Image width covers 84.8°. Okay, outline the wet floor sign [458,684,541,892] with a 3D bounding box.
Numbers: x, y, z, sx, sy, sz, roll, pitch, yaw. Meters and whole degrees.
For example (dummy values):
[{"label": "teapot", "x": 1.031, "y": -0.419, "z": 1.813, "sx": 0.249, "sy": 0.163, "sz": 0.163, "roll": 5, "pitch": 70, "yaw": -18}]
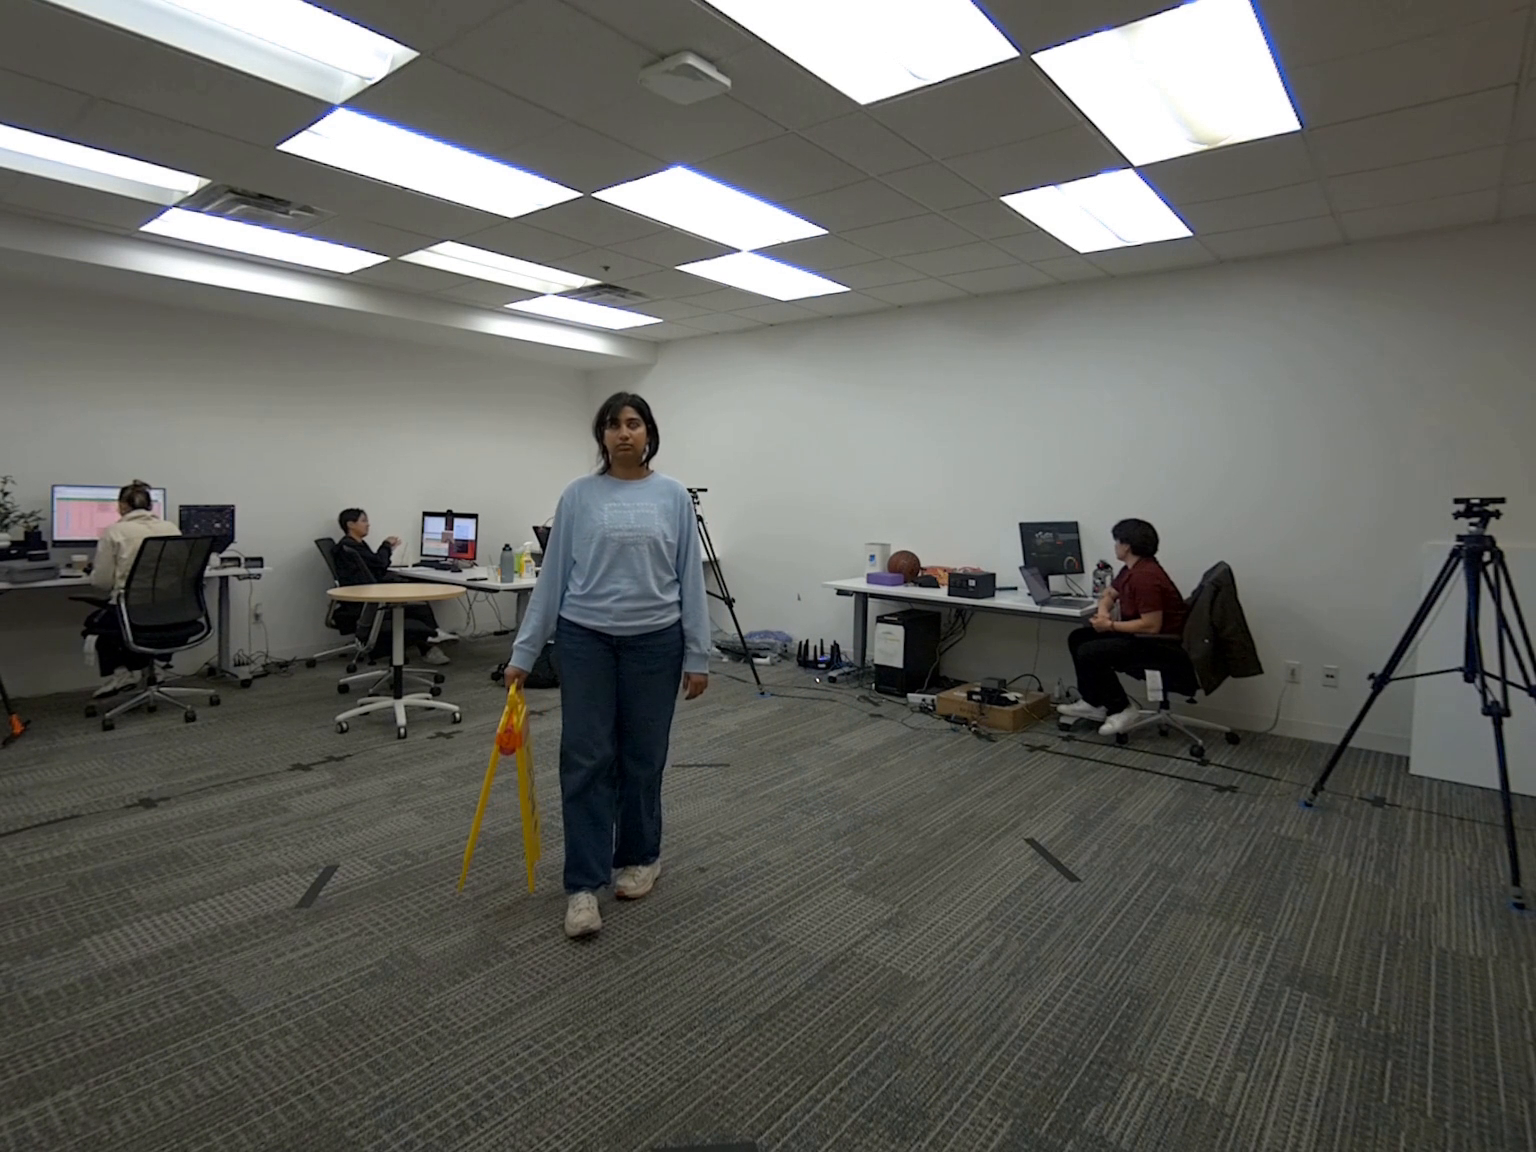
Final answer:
[{"label": "wet floor sign", "x": -0.872, "y": 0.666, "z": 2.805, "sx": 0.286, "sy": 0.642, "sz": 0.287, "roll": 5, "pitch": 8, "yaw": -11}]
